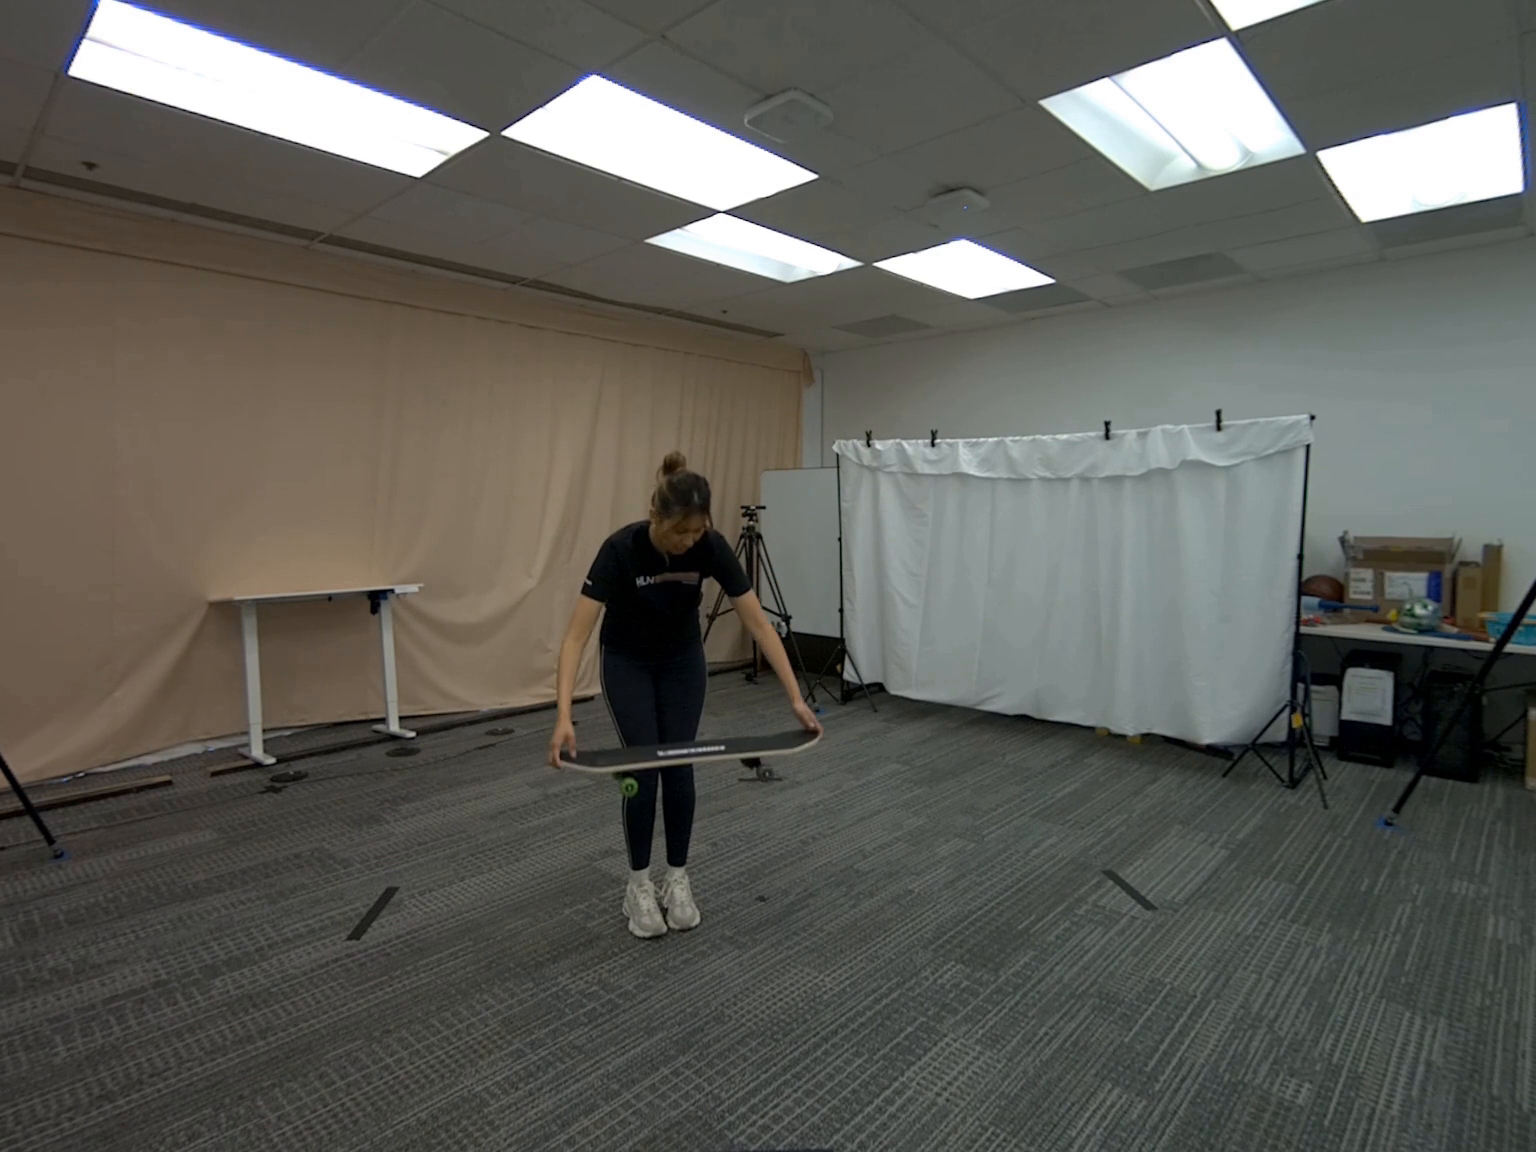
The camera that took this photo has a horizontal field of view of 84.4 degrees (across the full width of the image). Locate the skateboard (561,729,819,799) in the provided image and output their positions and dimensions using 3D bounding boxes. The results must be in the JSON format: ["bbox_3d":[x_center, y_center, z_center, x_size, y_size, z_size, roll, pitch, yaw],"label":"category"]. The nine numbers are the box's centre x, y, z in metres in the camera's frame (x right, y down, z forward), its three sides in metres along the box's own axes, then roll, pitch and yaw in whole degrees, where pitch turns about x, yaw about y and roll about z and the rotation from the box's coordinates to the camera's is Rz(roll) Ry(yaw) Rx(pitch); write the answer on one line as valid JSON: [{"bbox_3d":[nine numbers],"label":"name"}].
[{"bbox_3d":[-0.214,0.541,2.455,0.774,0.110,0.197,-3,7,-14],"label":"skateboard"}]
